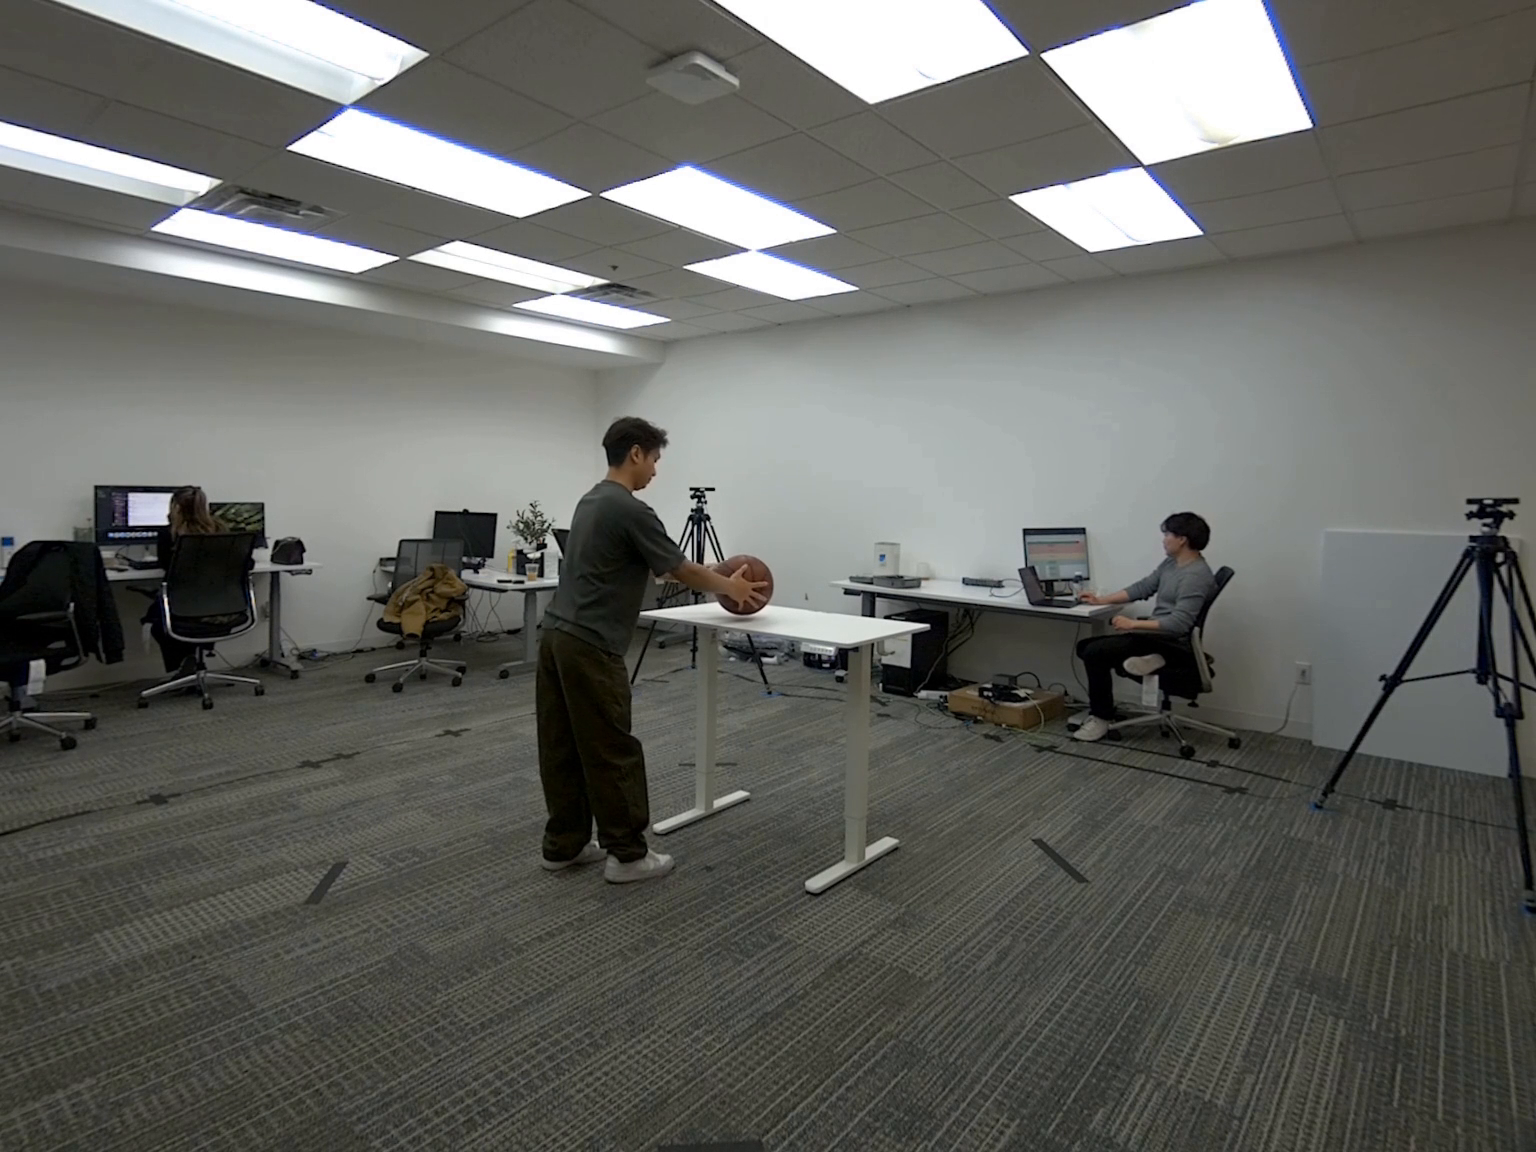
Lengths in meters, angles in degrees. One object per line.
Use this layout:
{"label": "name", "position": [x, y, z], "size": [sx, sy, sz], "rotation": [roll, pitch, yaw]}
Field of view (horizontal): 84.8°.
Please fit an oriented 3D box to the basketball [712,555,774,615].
{"label": "basketball", "position": [-0.110, 0.033, 3.333], "size": [0.235, 0.235, 0.237], "rotation": [1, 4, -2]}
